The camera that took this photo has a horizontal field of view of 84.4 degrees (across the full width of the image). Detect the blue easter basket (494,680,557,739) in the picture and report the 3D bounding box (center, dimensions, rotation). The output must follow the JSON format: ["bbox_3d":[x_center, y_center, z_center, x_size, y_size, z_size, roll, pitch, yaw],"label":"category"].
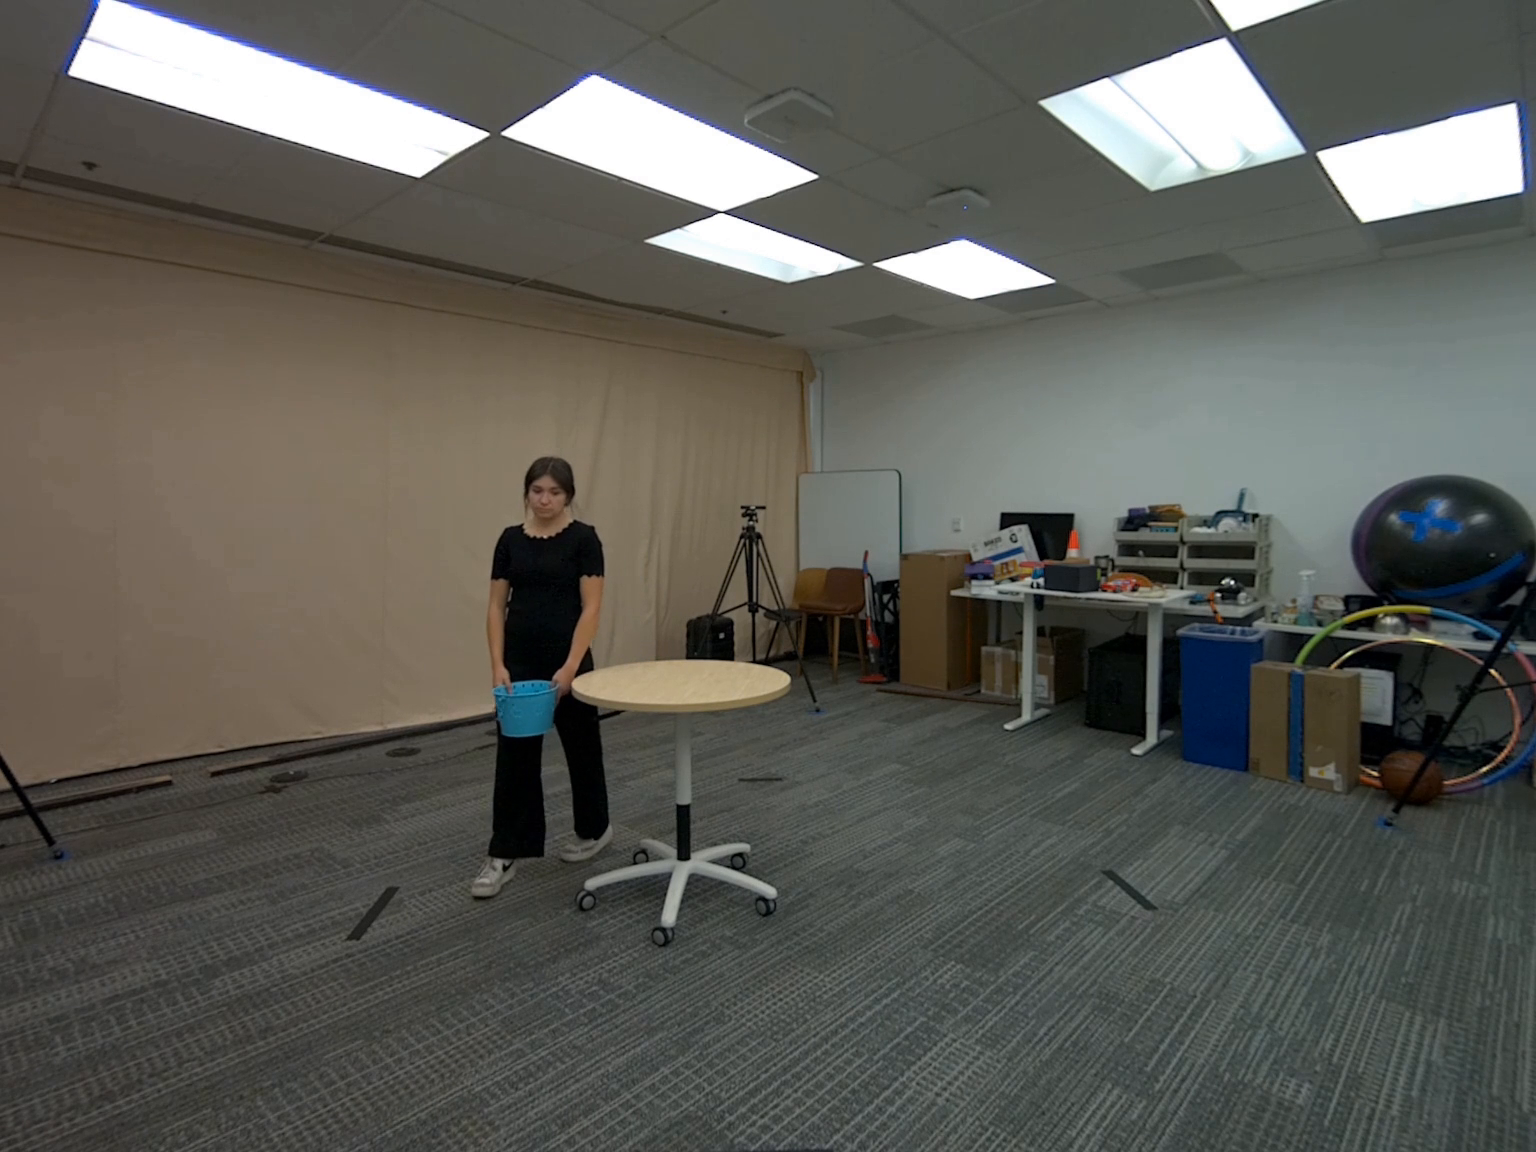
[{"bbox_3d":[-0.869,0.472,3.022,0.243,0.155,0.244,-3,4,-2],"label":"blue easter basket"}]
